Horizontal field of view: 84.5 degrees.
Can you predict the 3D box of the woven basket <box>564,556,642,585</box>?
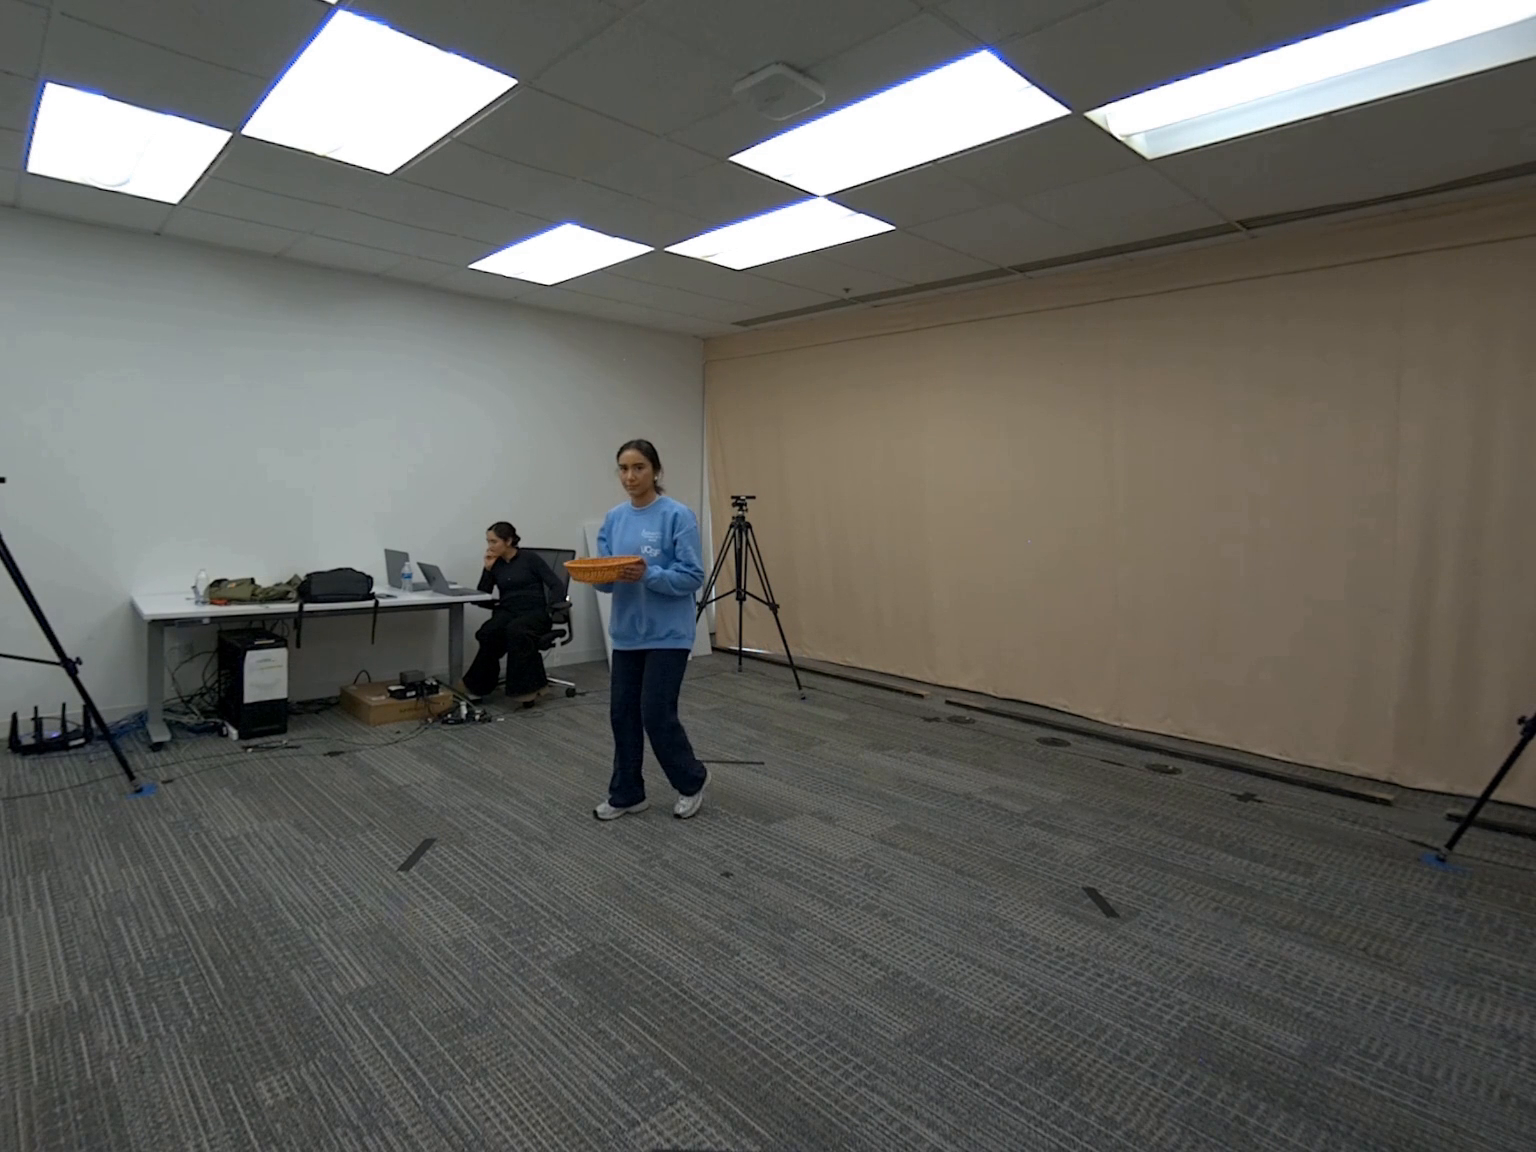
[{"bbox_3d":[-0.666,-0.017,3.324,0.248,0.073,0.358,-5,8,-26],"label":"woven basket"}]
